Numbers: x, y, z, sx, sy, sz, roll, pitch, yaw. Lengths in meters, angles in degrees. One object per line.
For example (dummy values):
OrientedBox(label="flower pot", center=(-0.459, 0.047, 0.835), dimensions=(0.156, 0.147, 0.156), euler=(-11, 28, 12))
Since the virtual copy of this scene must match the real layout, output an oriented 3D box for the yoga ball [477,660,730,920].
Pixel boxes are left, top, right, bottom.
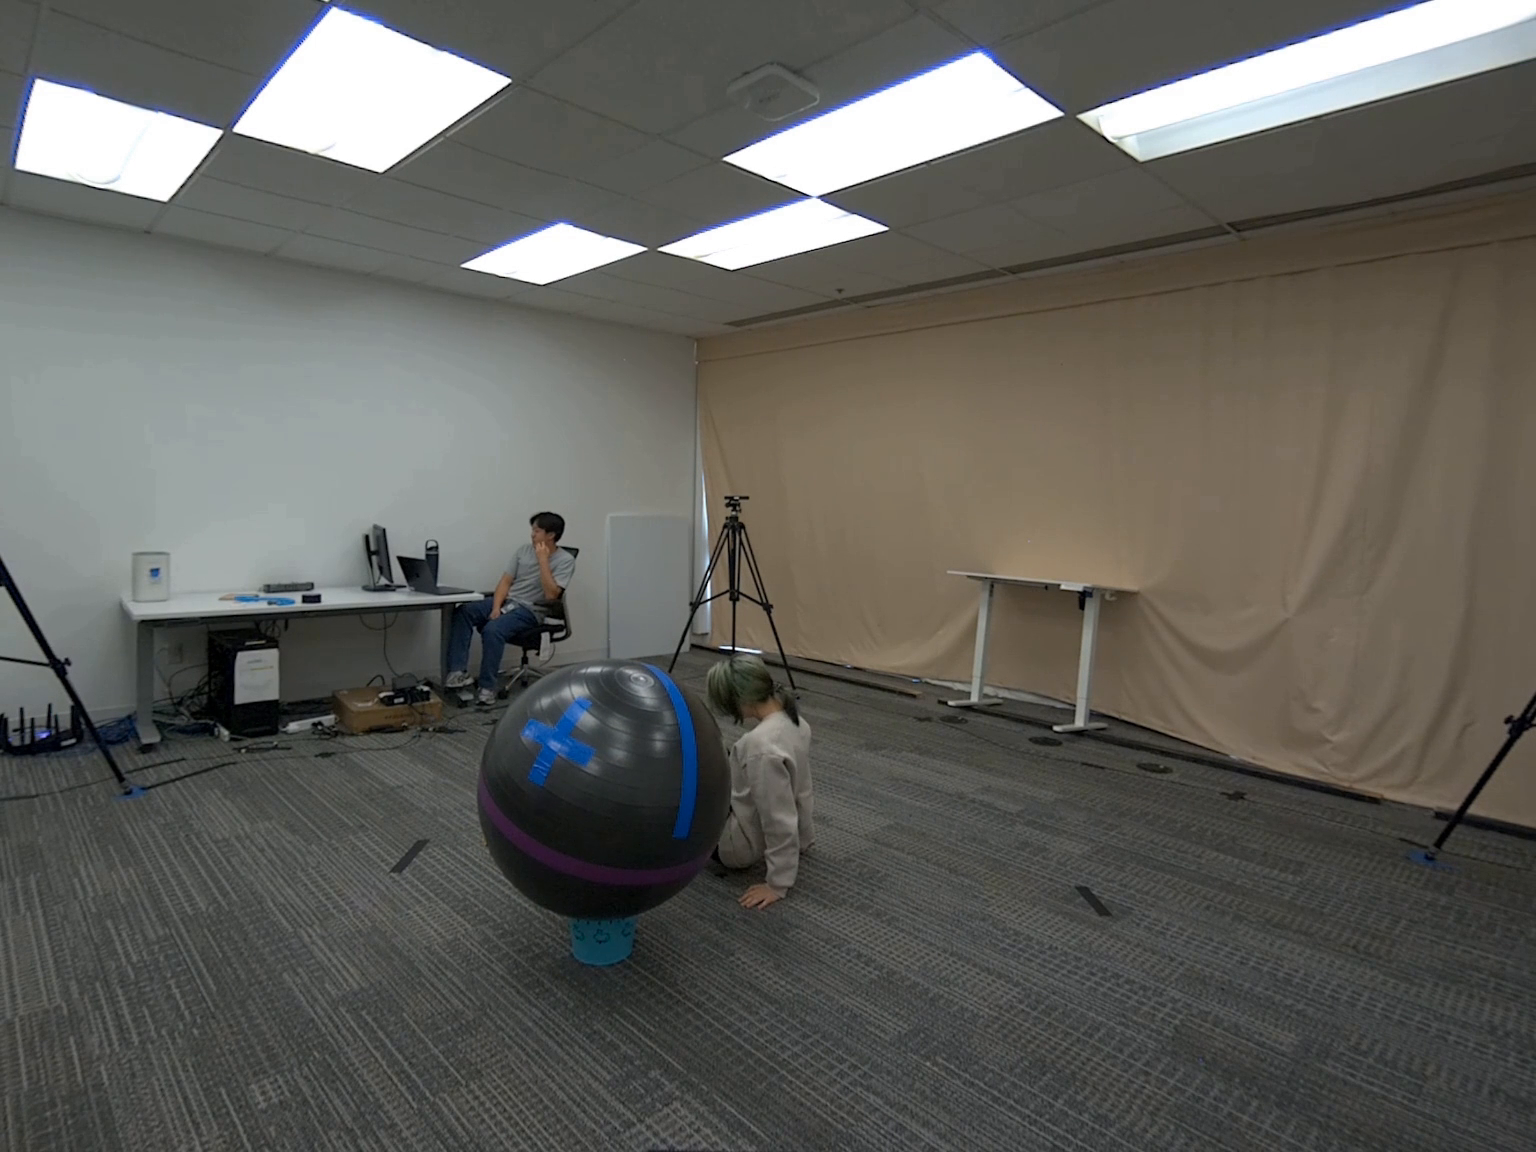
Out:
OrientedBox(label="yoga ball", center=(-0.497, 0.637, 2.544), dimensions=(0.757, 0.756, 0.761), euler=(1, 4, -1))
